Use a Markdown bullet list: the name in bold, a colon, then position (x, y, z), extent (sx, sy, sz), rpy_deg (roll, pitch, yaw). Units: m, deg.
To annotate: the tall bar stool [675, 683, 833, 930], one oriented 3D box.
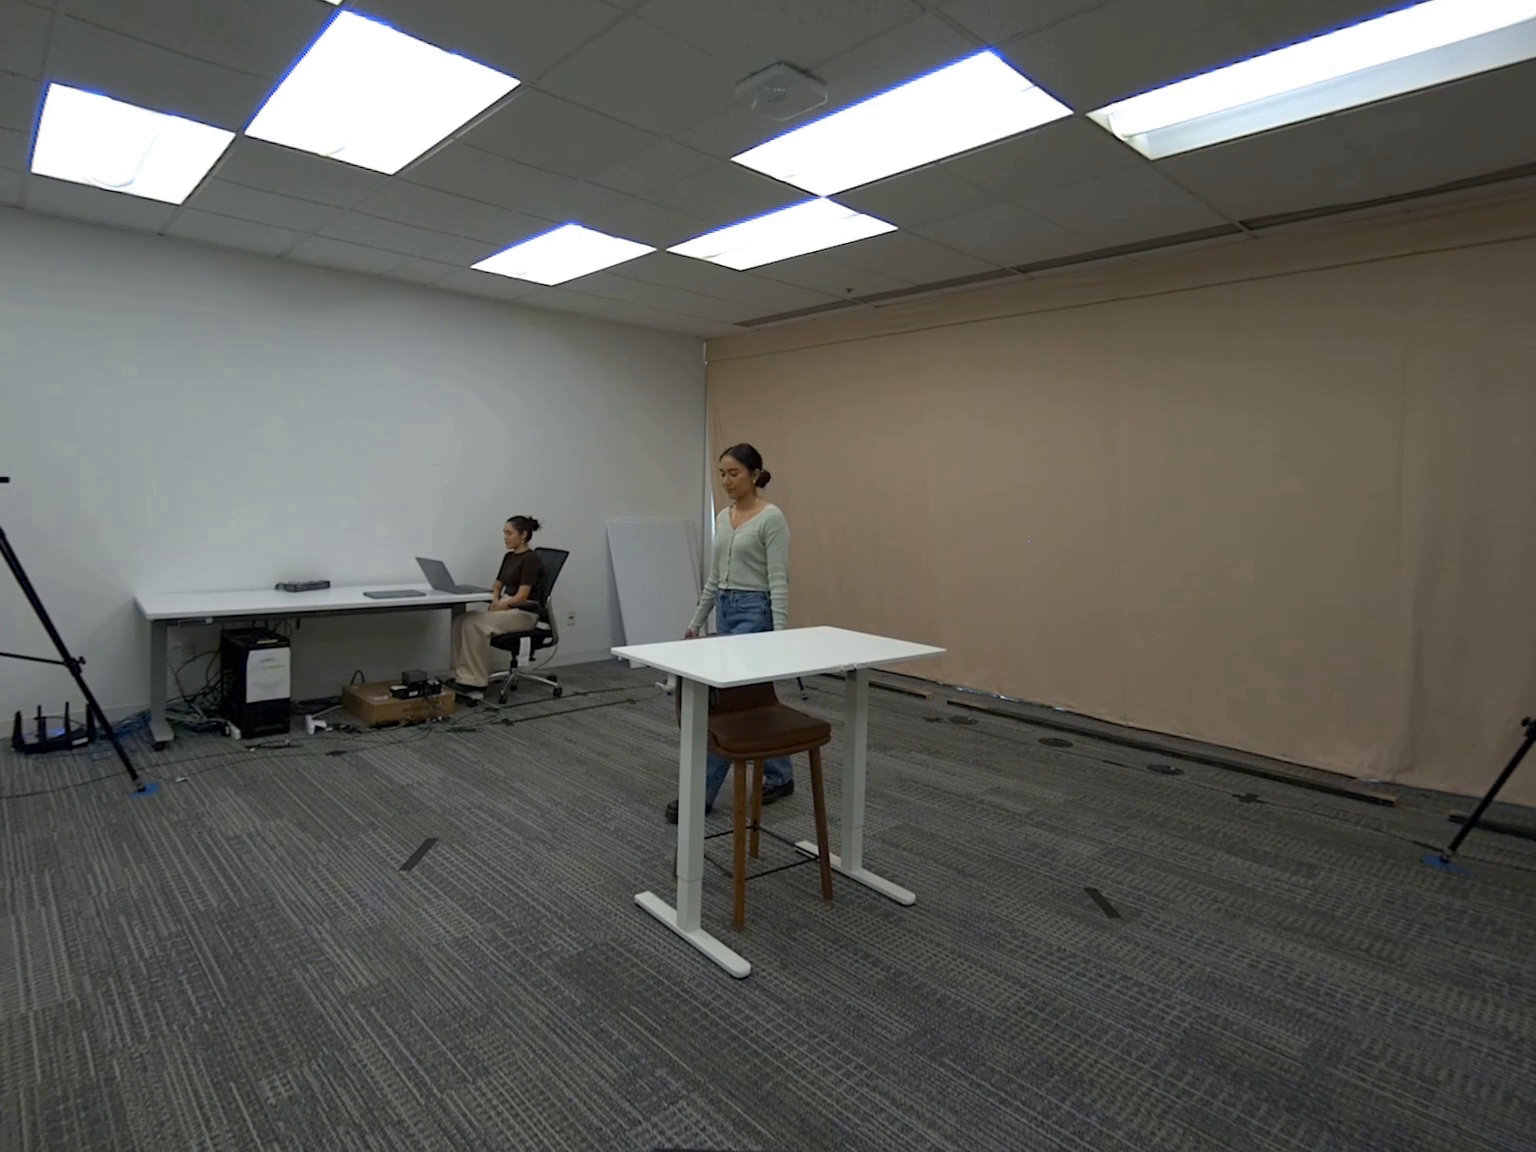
- **tall bar stool**: position (-0.066, 0.685, 2.979), extent (0.447, 0.889, 0.478), rpy_deg (-2, 1, -35)
